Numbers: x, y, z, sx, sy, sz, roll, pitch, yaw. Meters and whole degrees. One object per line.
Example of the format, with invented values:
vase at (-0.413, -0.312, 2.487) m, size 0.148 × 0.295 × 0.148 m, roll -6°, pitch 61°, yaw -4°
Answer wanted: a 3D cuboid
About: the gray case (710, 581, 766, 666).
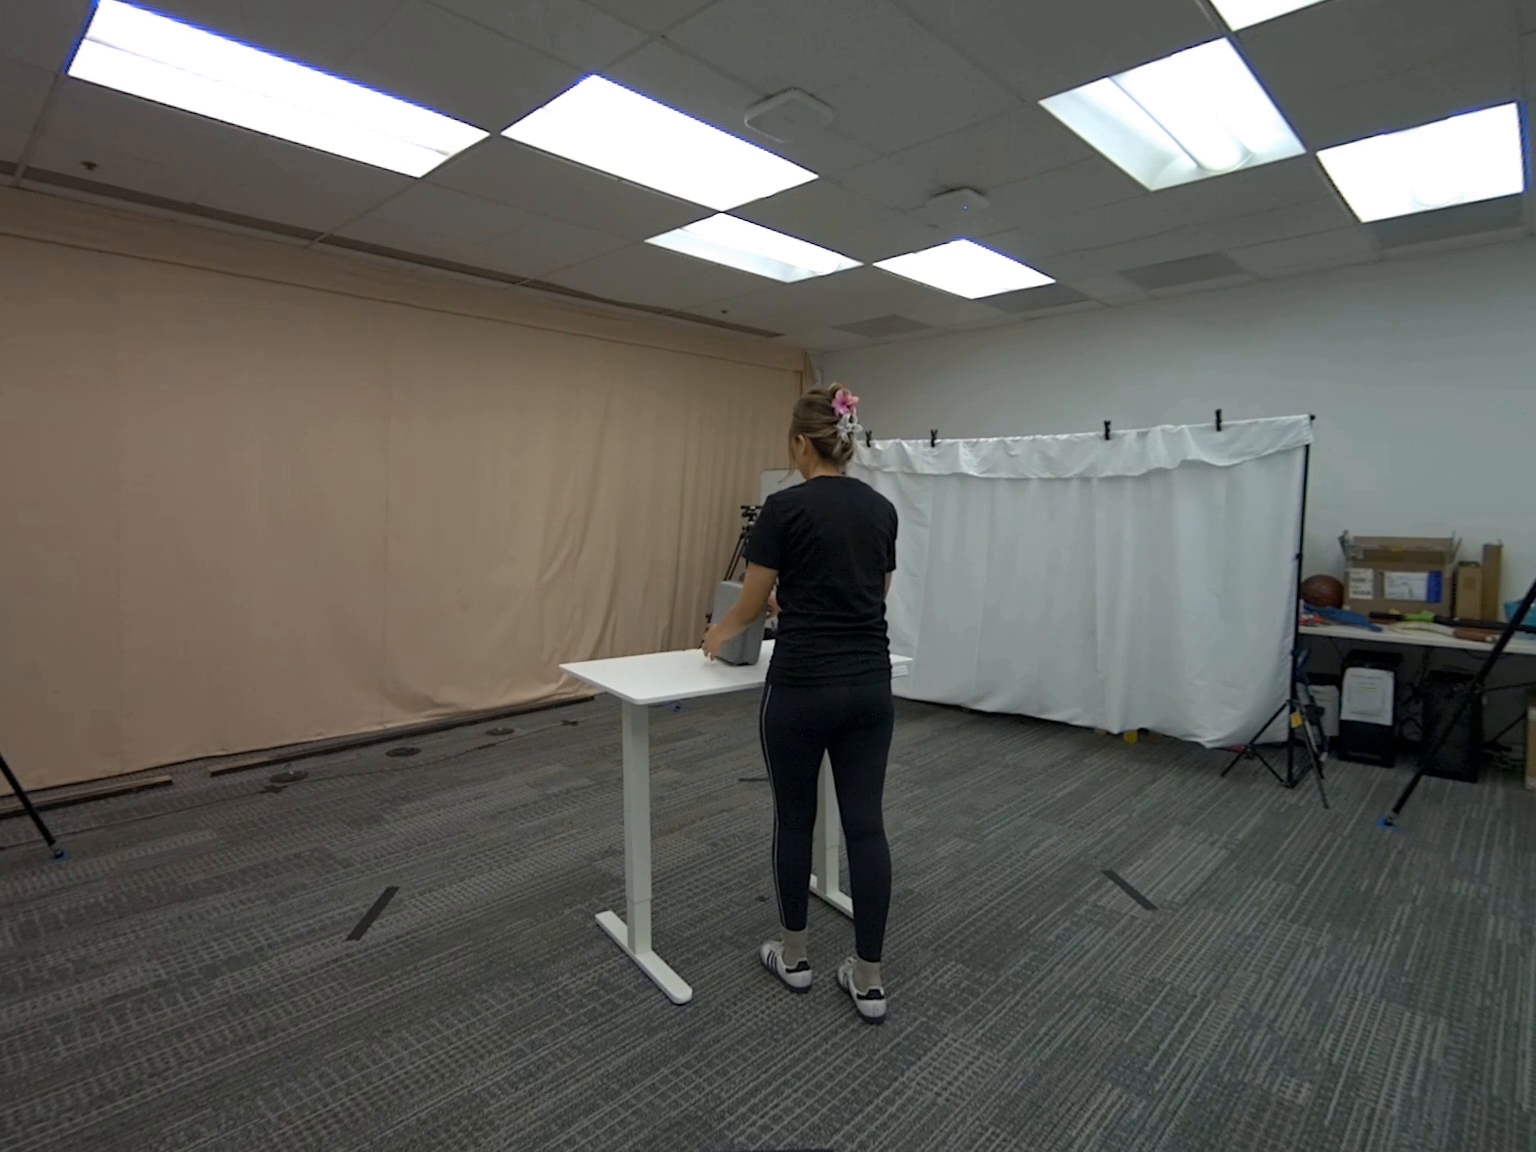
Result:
gray case at (-0.100, 0.150, 2.781) m, size 0.102 × 0.260 × 0.262 m, roll 6°, pitch 1°, yaw -20°
